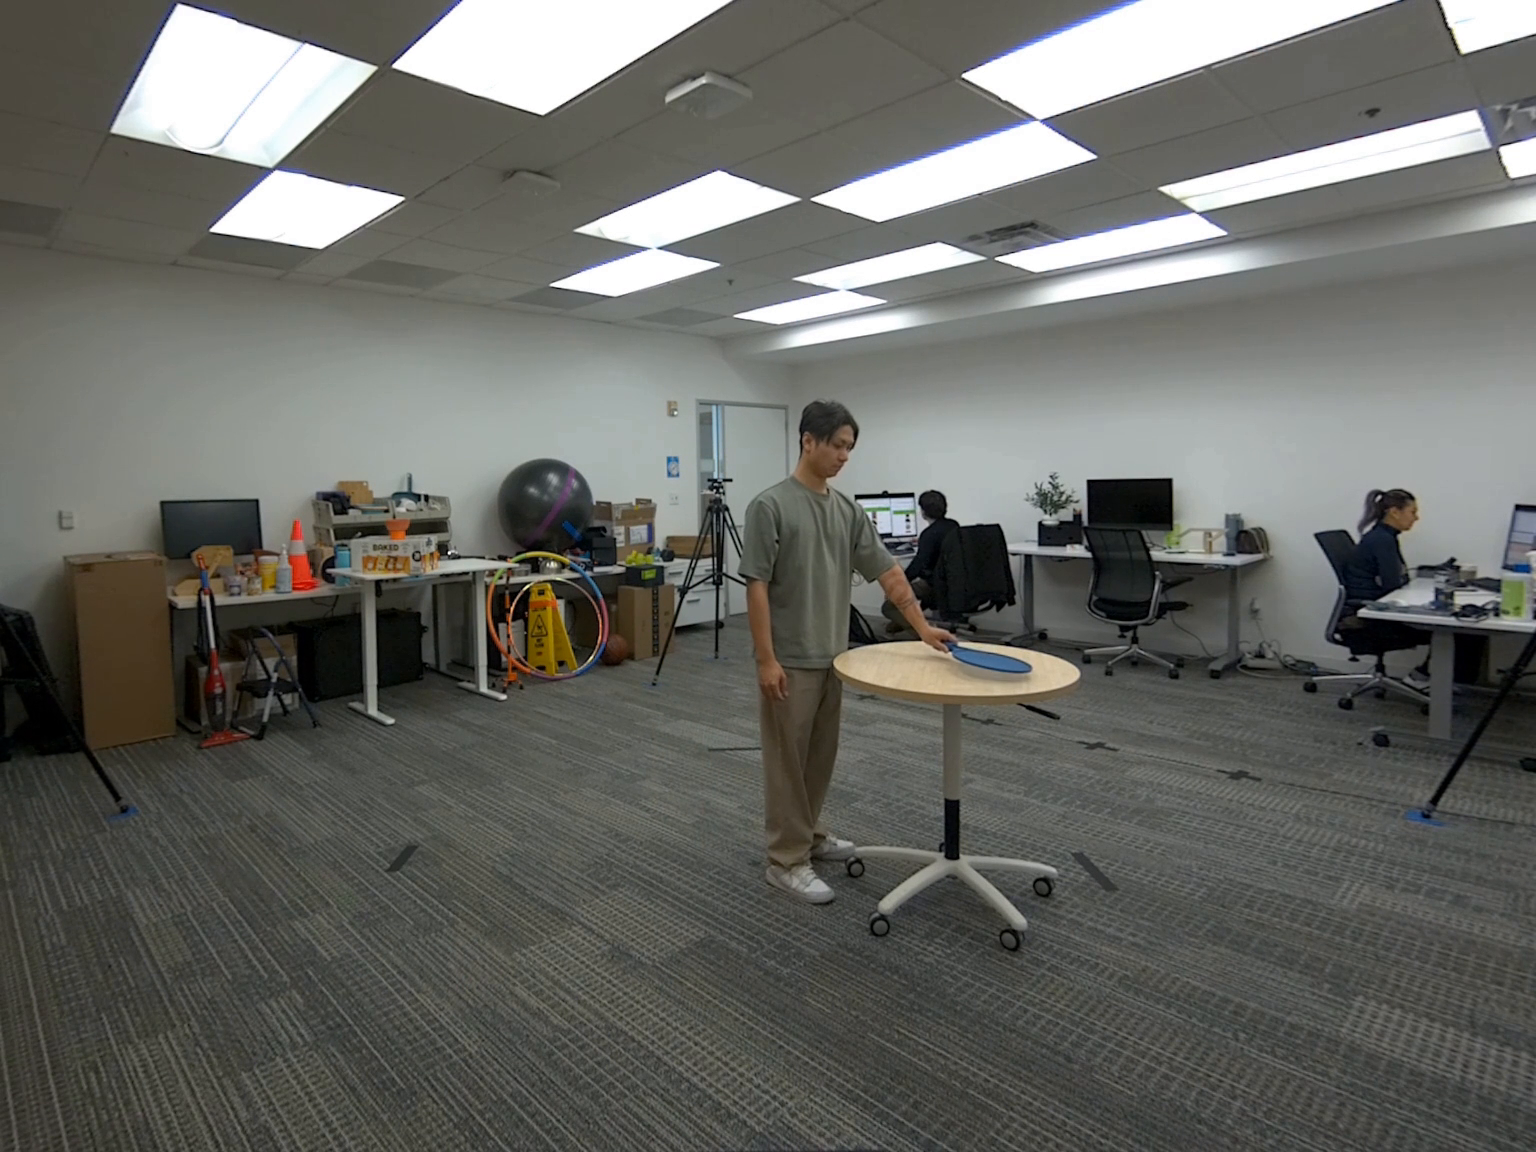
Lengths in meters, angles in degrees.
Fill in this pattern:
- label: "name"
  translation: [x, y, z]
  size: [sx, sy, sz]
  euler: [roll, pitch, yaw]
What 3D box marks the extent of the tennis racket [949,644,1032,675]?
- label: "tennis racket"
  translation: [0.659, 0.250, 2.717]
  size: [0.209, 0.031, 0.445]
  euler: [2, 8, -25]
